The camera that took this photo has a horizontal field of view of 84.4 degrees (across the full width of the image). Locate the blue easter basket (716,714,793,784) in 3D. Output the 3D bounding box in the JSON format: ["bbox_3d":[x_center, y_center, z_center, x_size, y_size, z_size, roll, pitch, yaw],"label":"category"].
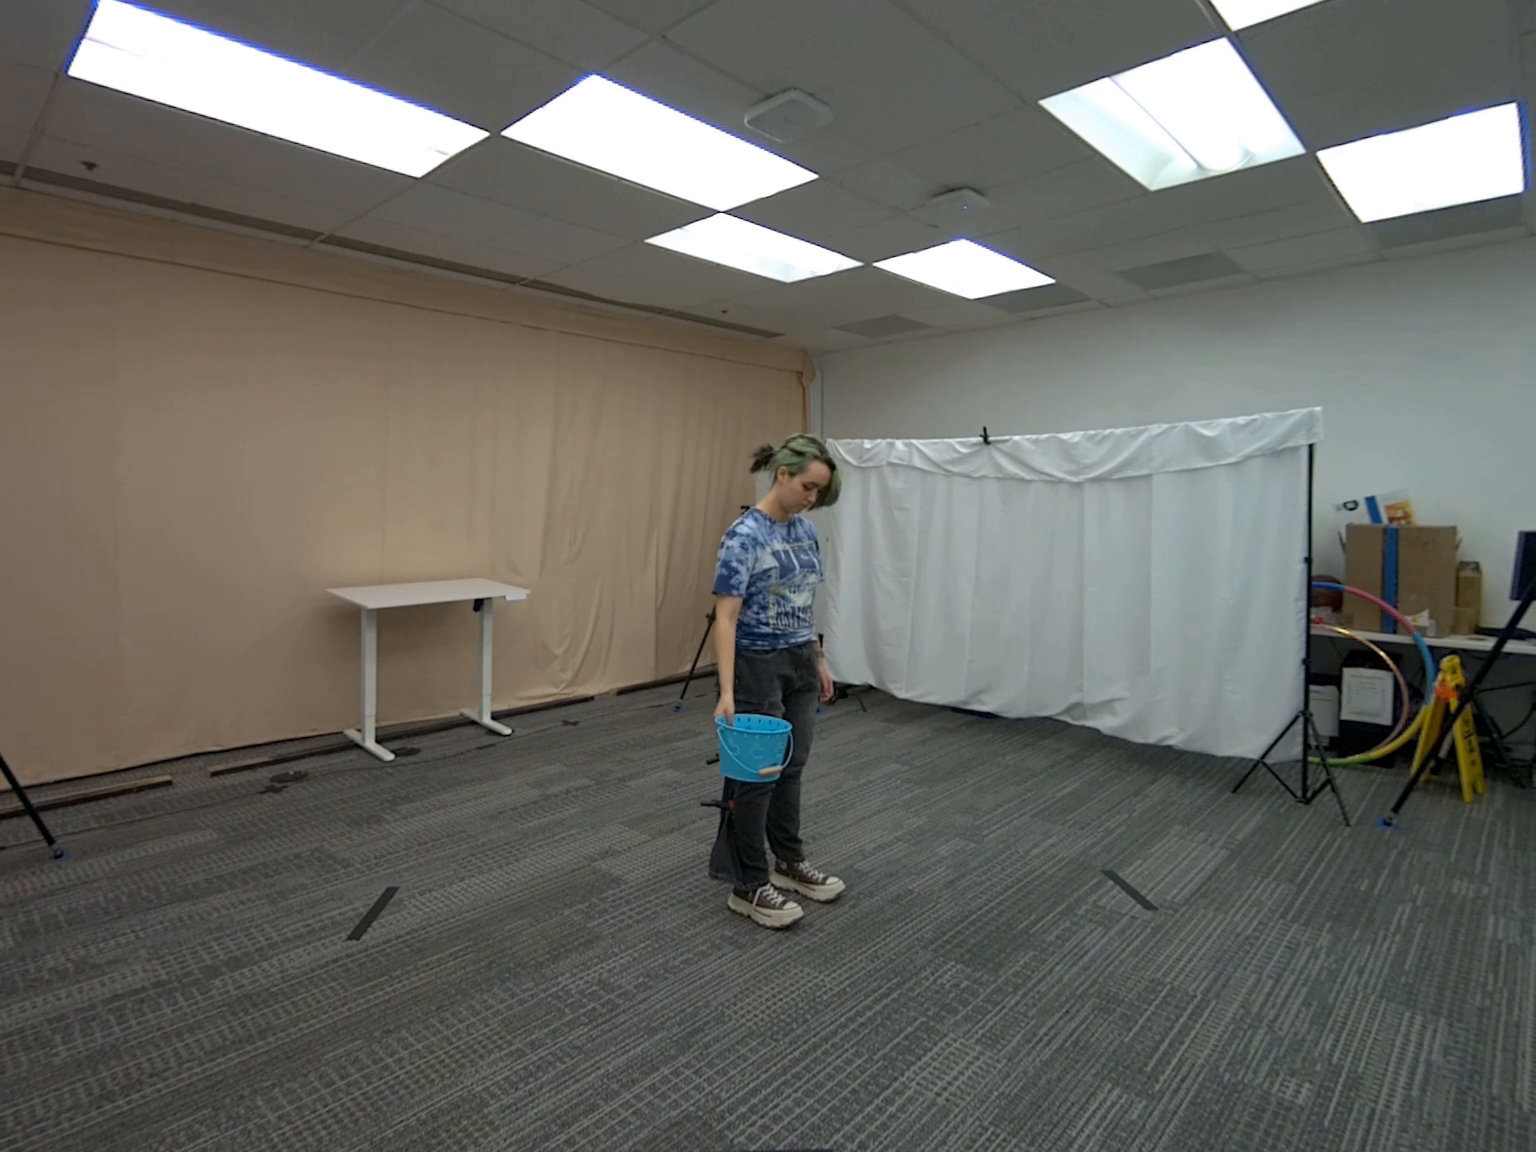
[{"bbox_3d":[-0.049,0.516,2.529,0.243,0.156,0.244,3,2,-2],"label":"blue easter basket"}]
